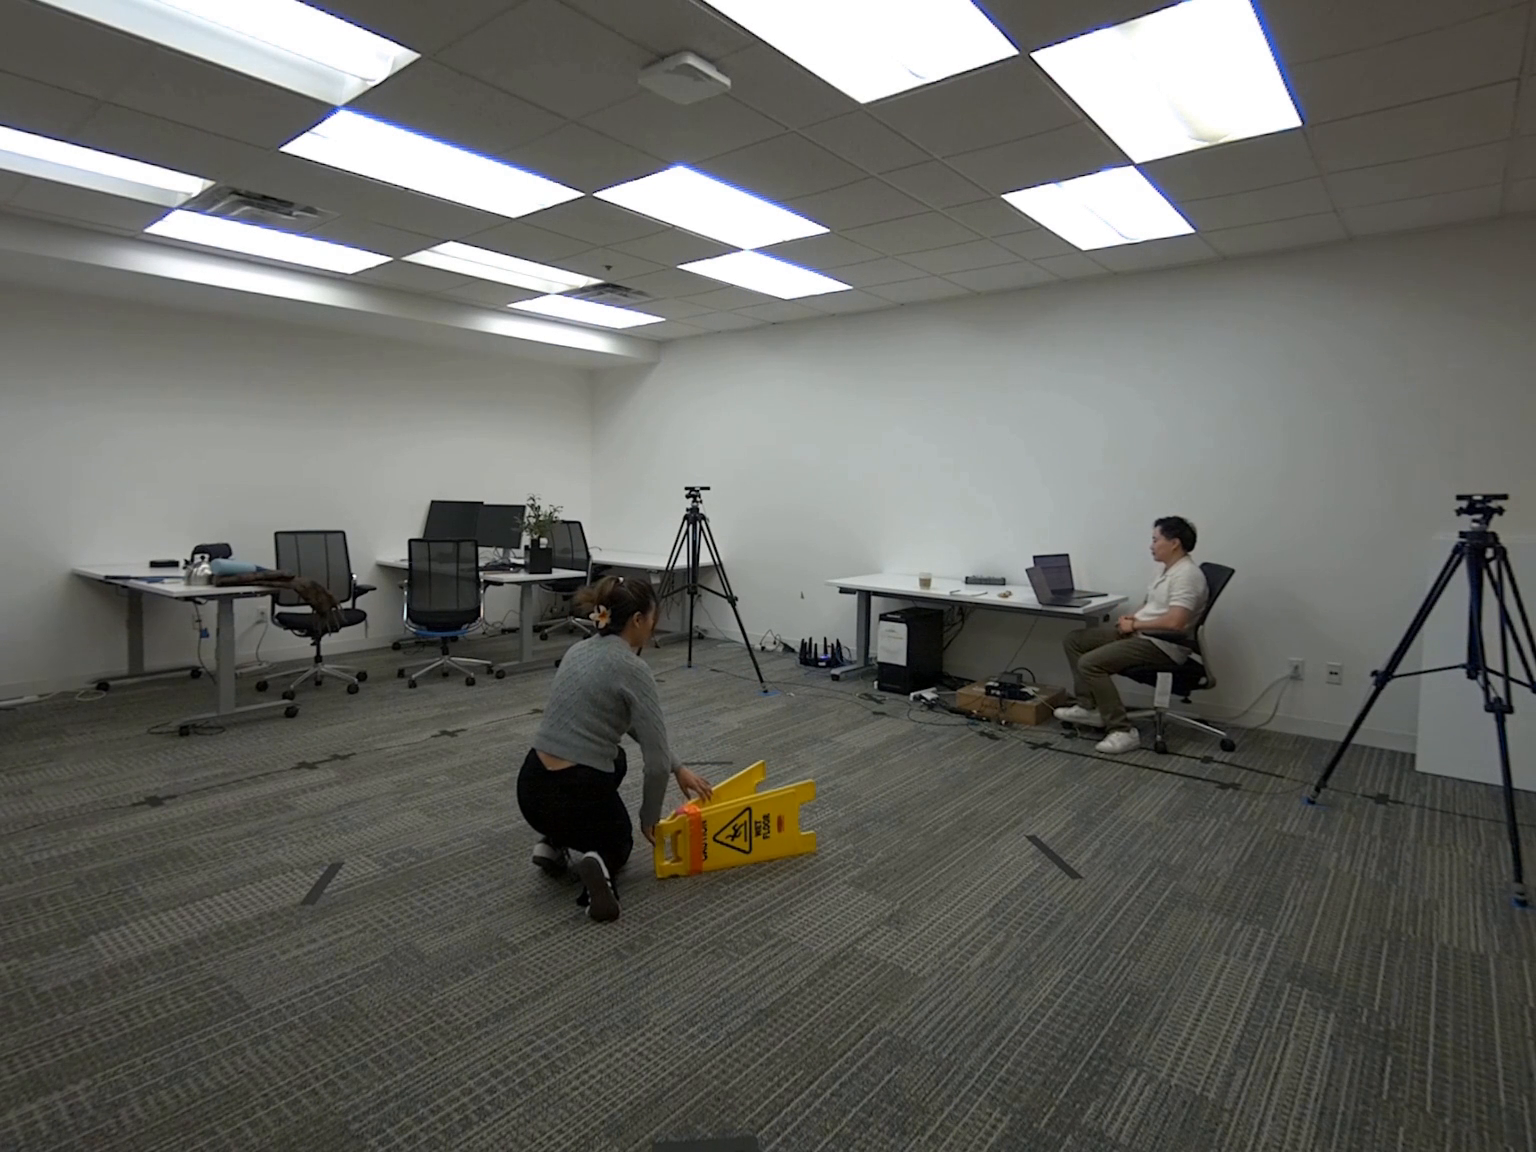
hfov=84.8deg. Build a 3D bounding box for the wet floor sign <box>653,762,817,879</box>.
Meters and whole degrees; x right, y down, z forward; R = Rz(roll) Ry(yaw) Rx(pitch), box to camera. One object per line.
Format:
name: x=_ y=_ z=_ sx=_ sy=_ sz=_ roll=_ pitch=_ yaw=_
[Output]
wet floor sign: x=-0.165 y=0.939 z=3.191 sx=0.628 sy=0.281 sz=0.299 roll=-7 pitch=8 yaw=-38
